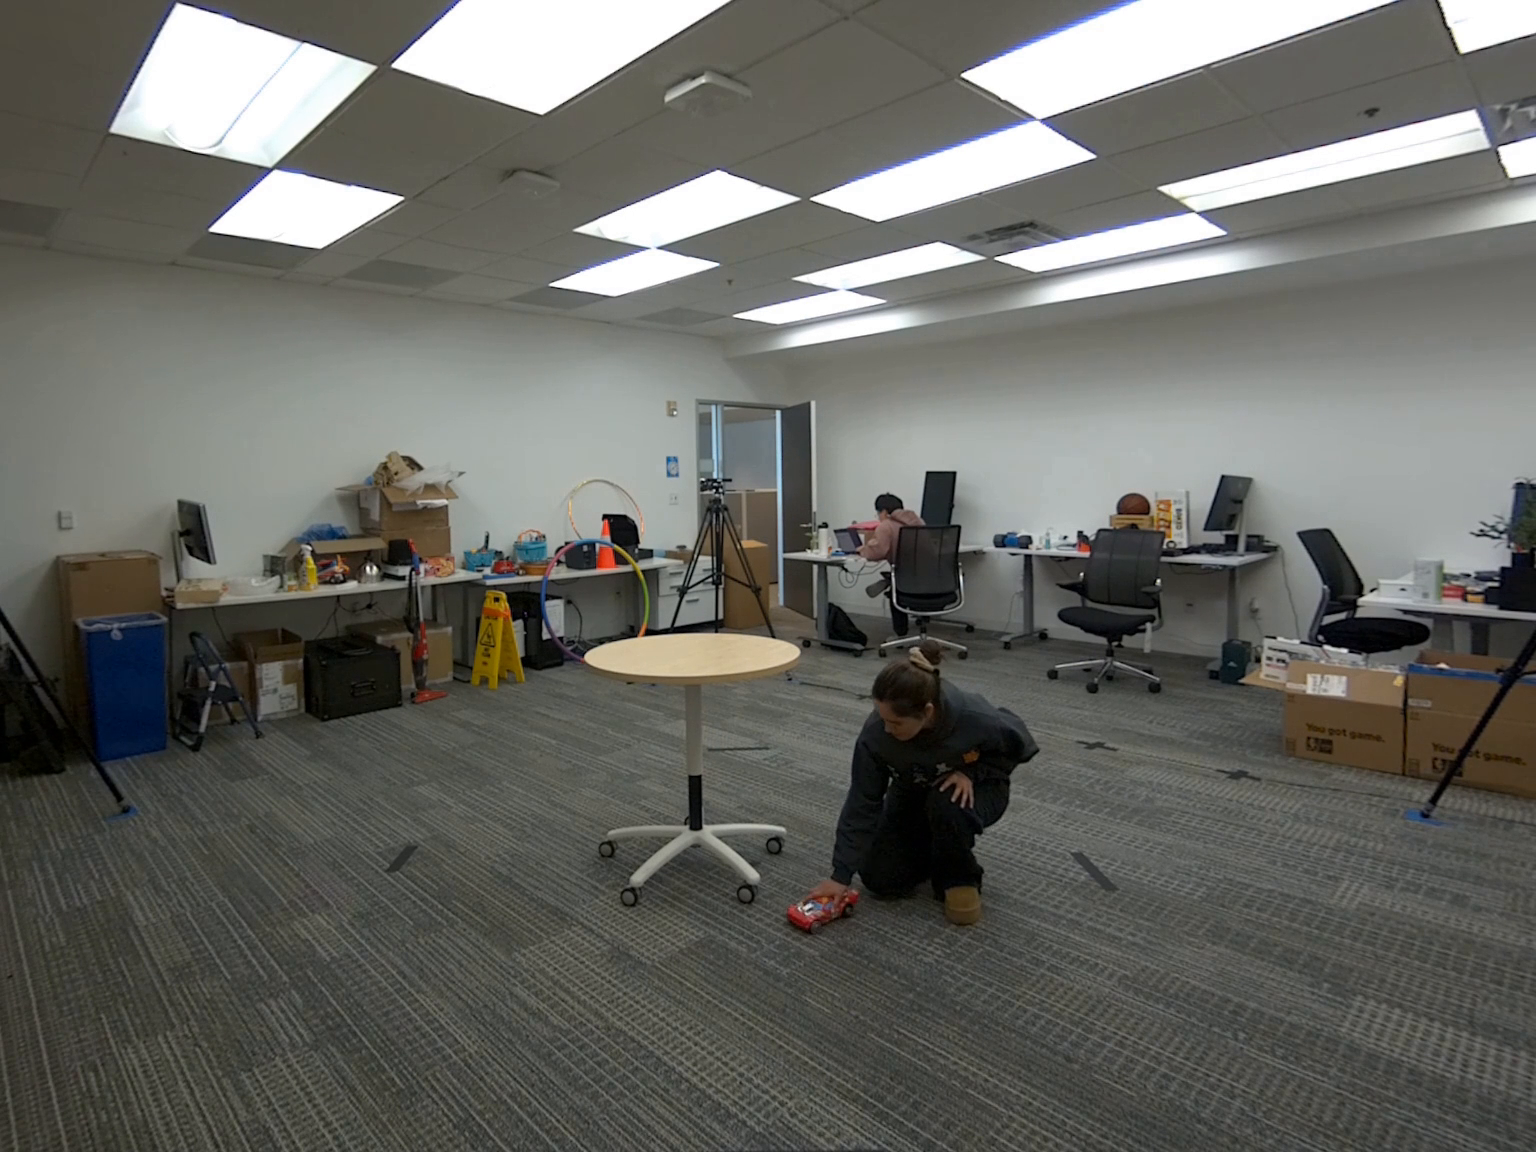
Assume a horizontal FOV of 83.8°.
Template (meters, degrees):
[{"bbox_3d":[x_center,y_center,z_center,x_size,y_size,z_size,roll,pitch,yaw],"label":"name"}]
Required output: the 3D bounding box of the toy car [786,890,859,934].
[{"bbox_3d":[0.192,1.054,2.718,0.250,0.082,0.134,-19,15,-37],"label":"toy car"}]
